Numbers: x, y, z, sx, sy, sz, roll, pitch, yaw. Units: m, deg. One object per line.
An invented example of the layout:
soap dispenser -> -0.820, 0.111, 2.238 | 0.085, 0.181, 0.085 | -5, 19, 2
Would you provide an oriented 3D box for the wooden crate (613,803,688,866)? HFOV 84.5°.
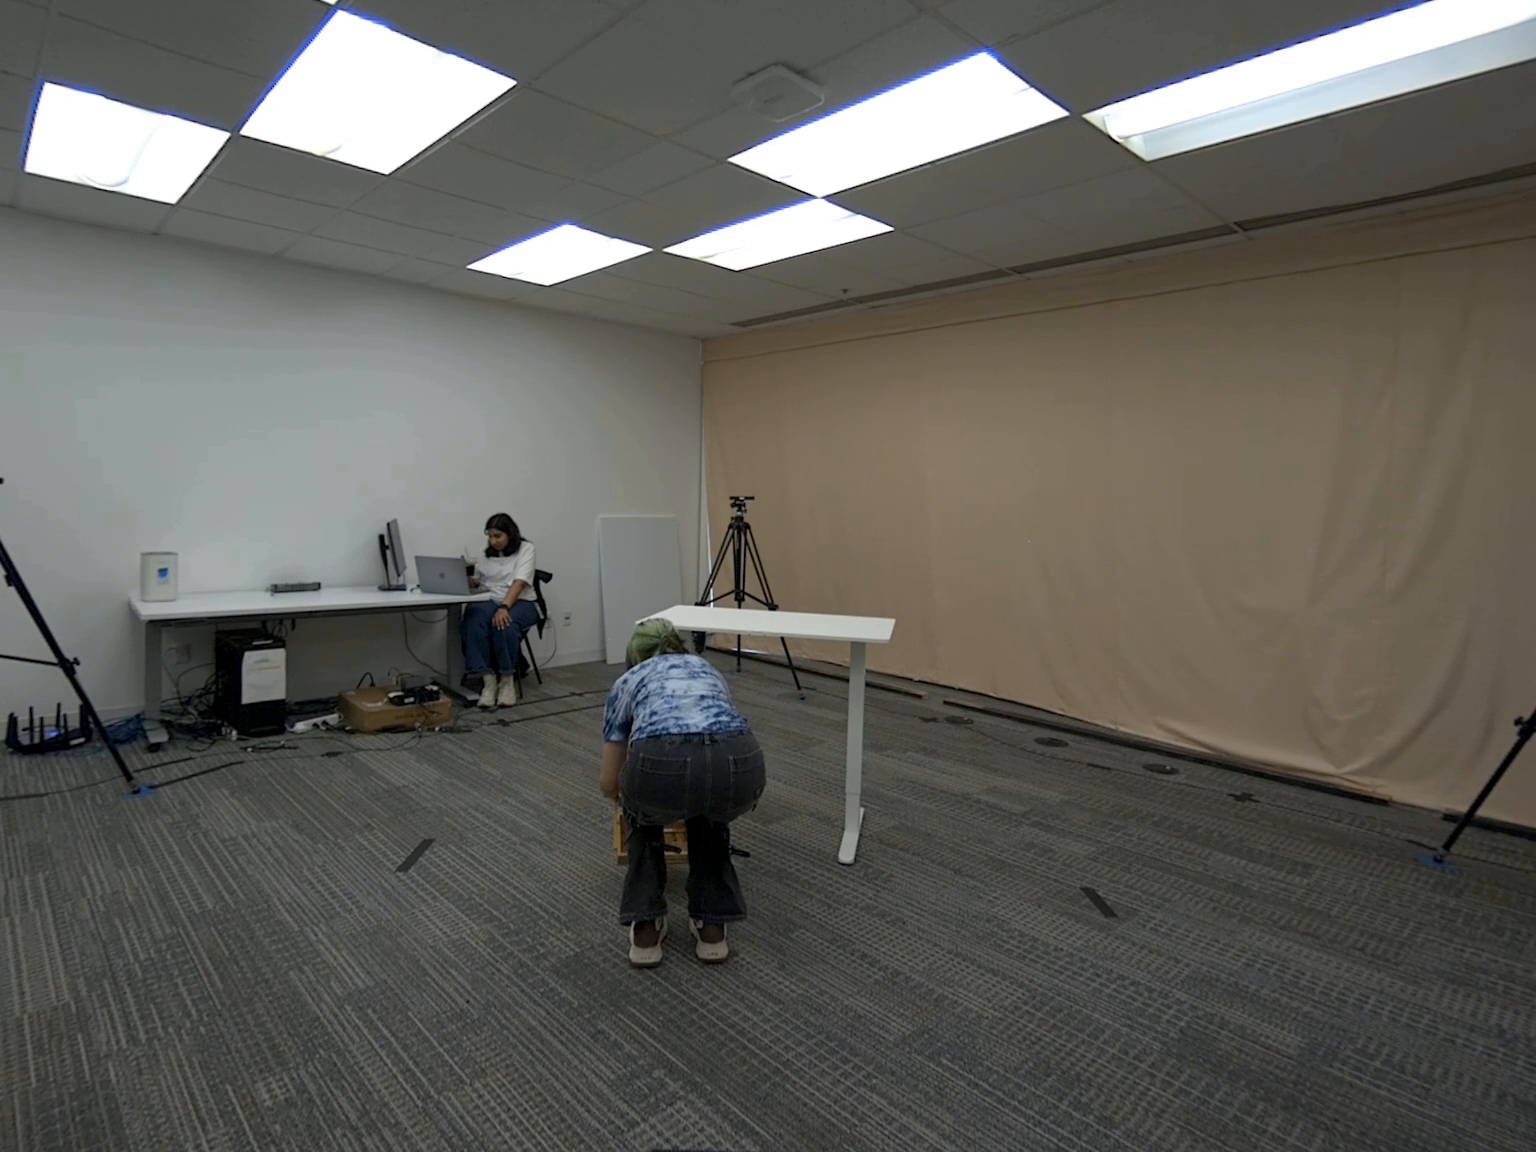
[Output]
wooden crate -> -0.396, 0.851, 3.026 | 0.321, 0.272, 0.306 | 2, 5, -12
